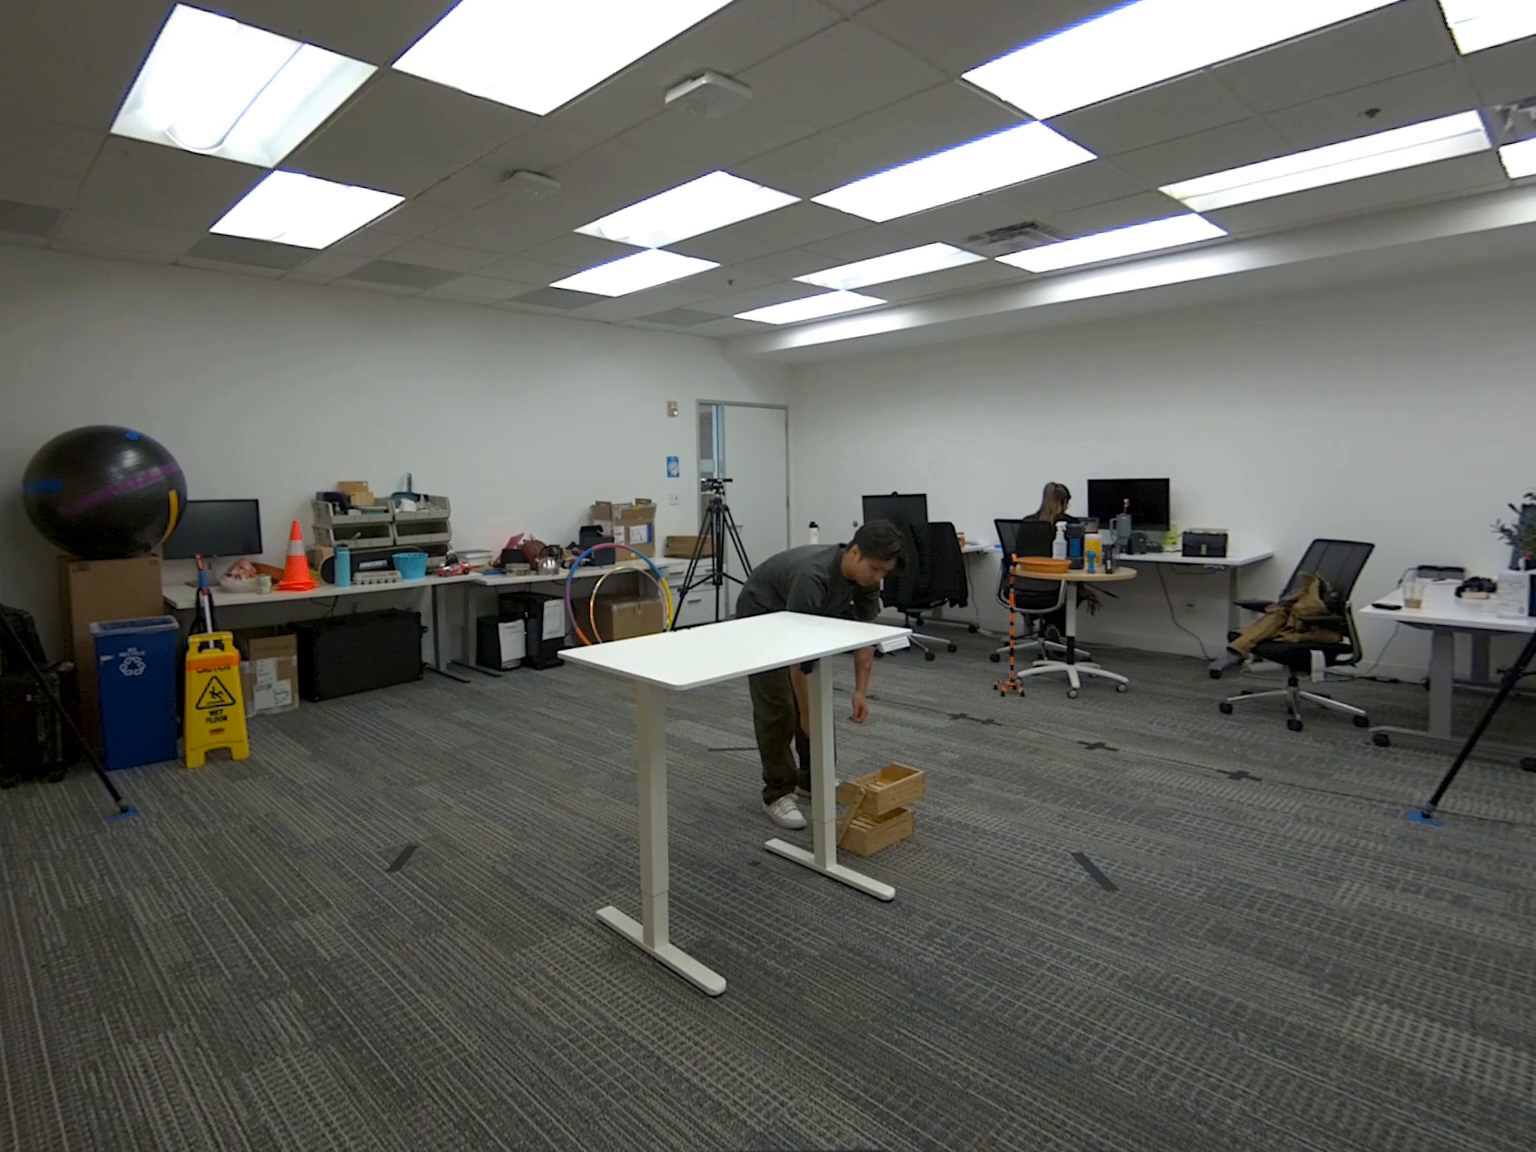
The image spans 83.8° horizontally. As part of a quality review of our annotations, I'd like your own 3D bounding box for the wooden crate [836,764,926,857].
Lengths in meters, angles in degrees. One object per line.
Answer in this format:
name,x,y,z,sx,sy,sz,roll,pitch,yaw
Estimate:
wooden crate,0.393,0.877,3.313,0.316,0.272,0.311,-5,7,-43
